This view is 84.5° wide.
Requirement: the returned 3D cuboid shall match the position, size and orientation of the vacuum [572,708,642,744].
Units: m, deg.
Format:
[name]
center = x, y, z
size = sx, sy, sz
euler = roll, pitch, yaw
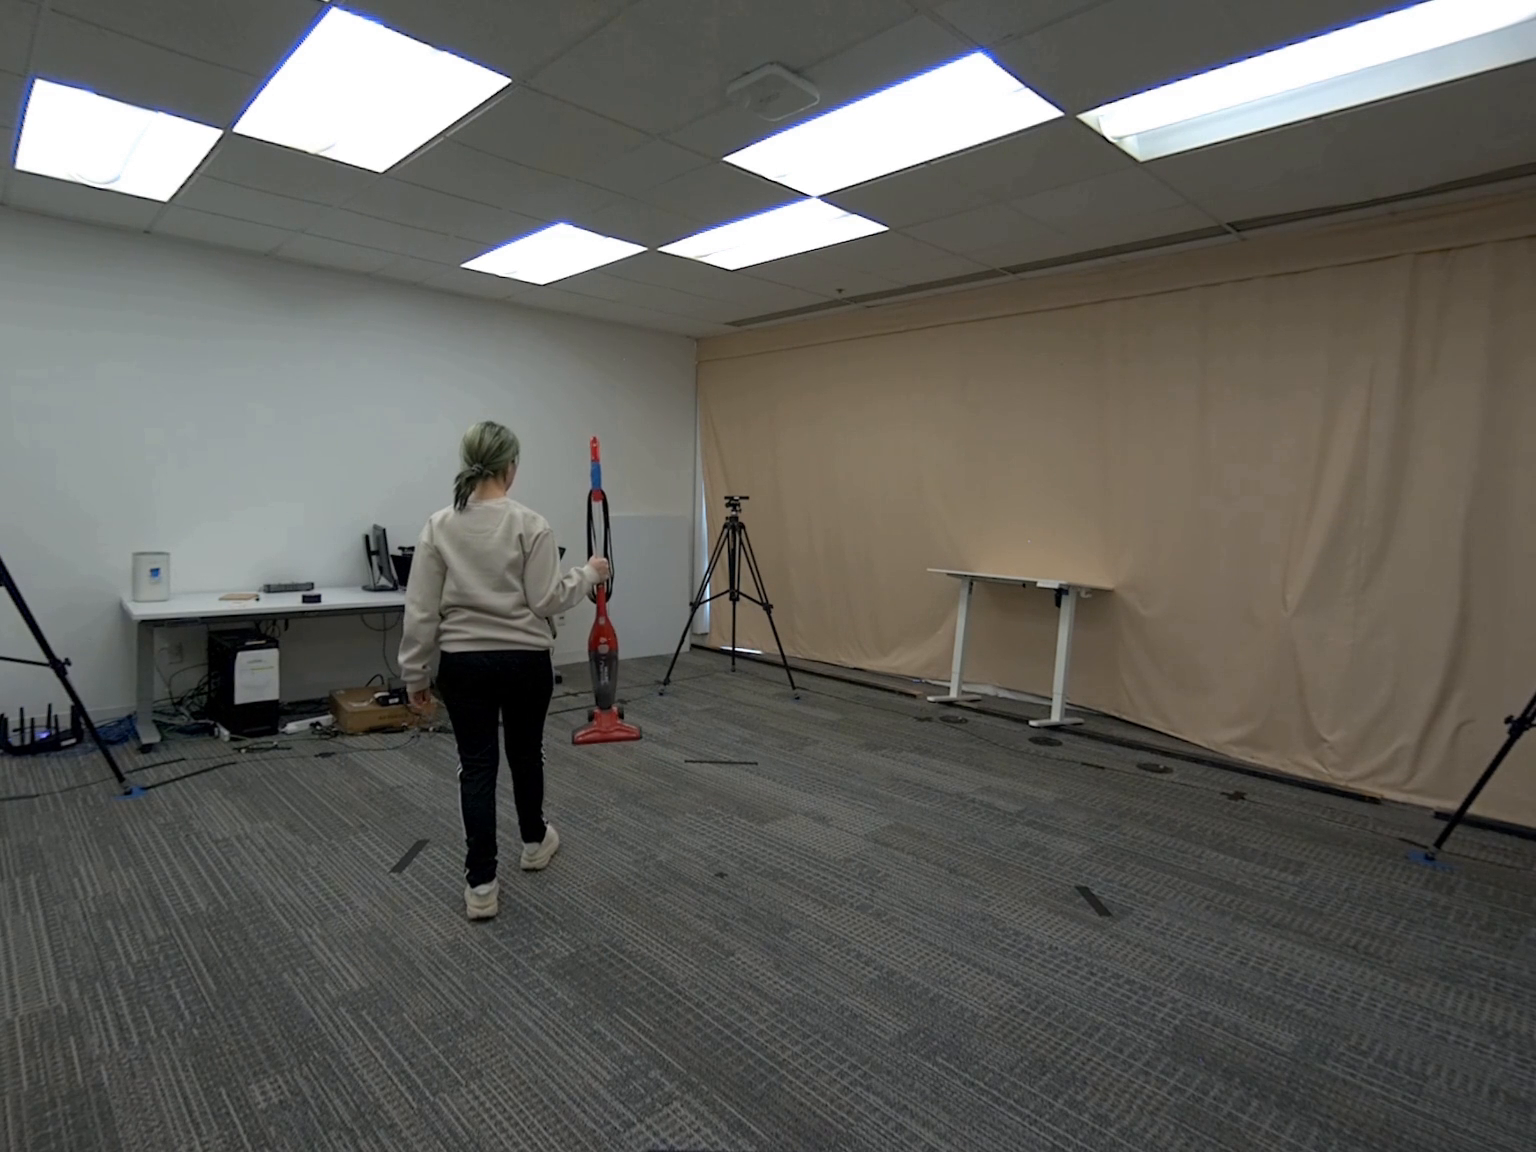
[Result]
[vacuum]
center = -0.606, 0.031, 3.087
size = 0.250, 1.049, 0.145
euler = -3, 0, -13
